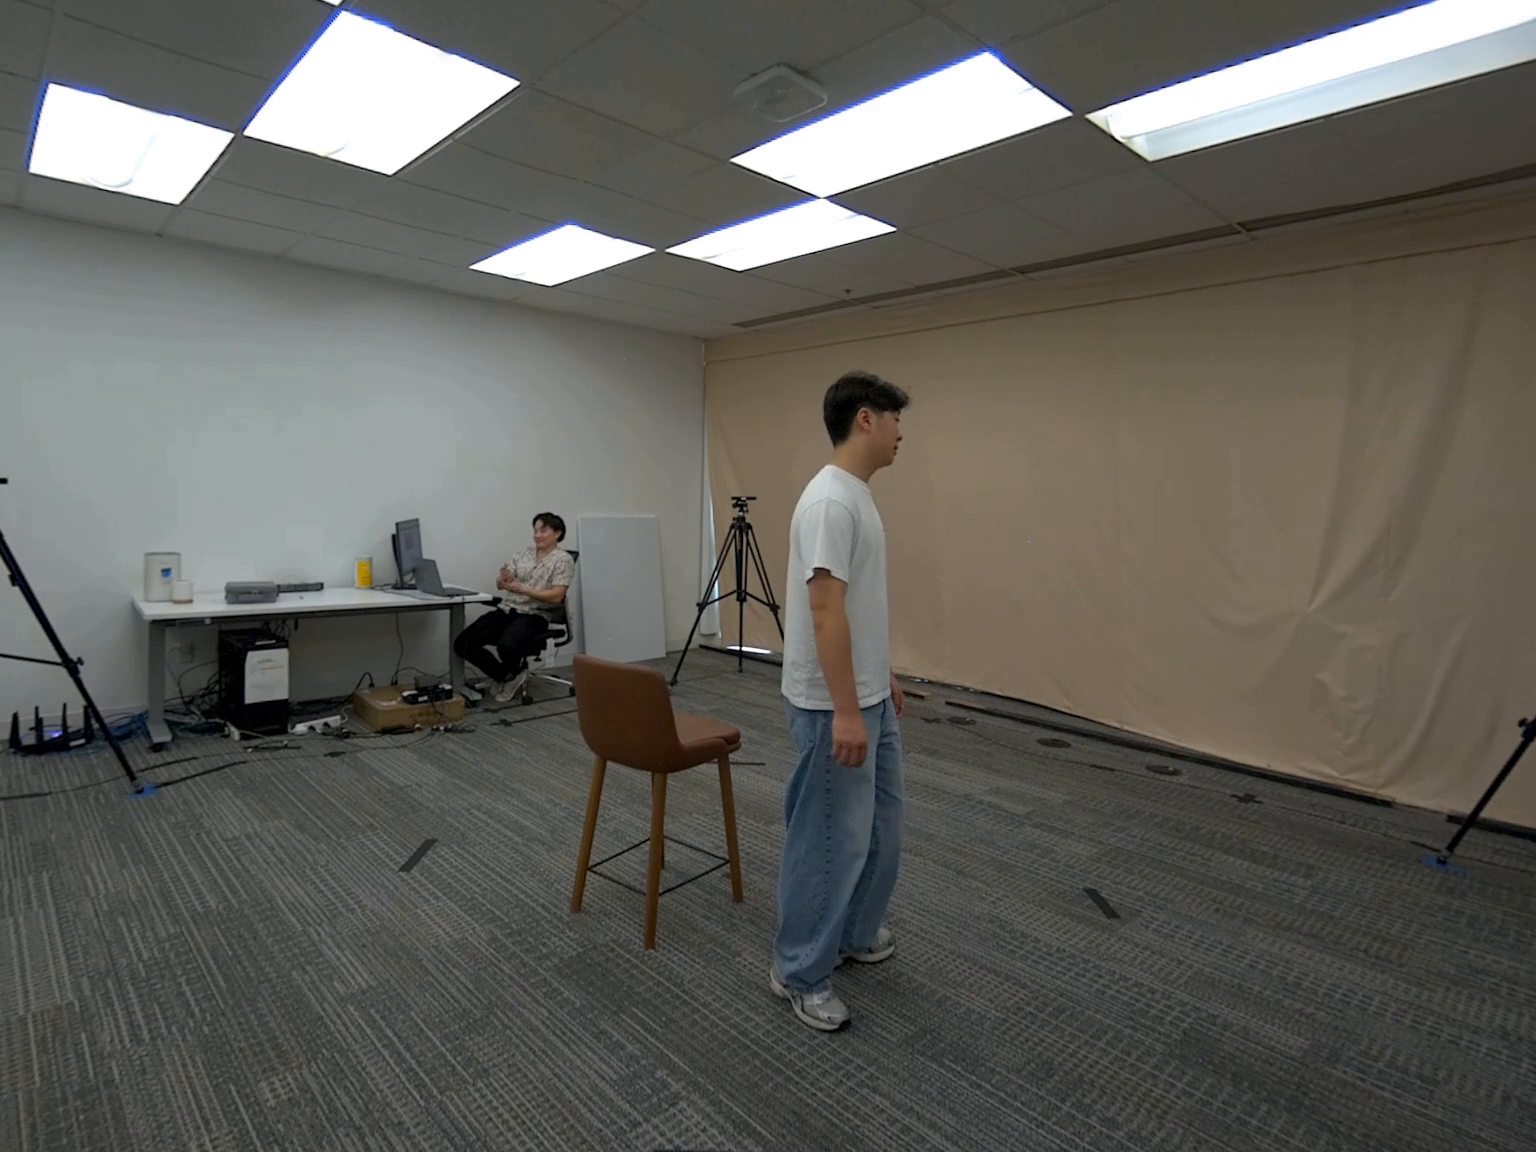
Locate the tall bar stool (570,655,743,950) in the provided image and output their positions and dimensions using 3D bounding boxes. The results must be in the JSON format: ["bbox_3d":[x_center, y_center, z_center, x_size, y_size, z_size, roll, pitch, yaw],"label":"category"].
[{"bbox_3d":[-0.383,0.689,2.846,0.468,0.887,0.458,3,6,38],"label":"tall bar stool"}]
